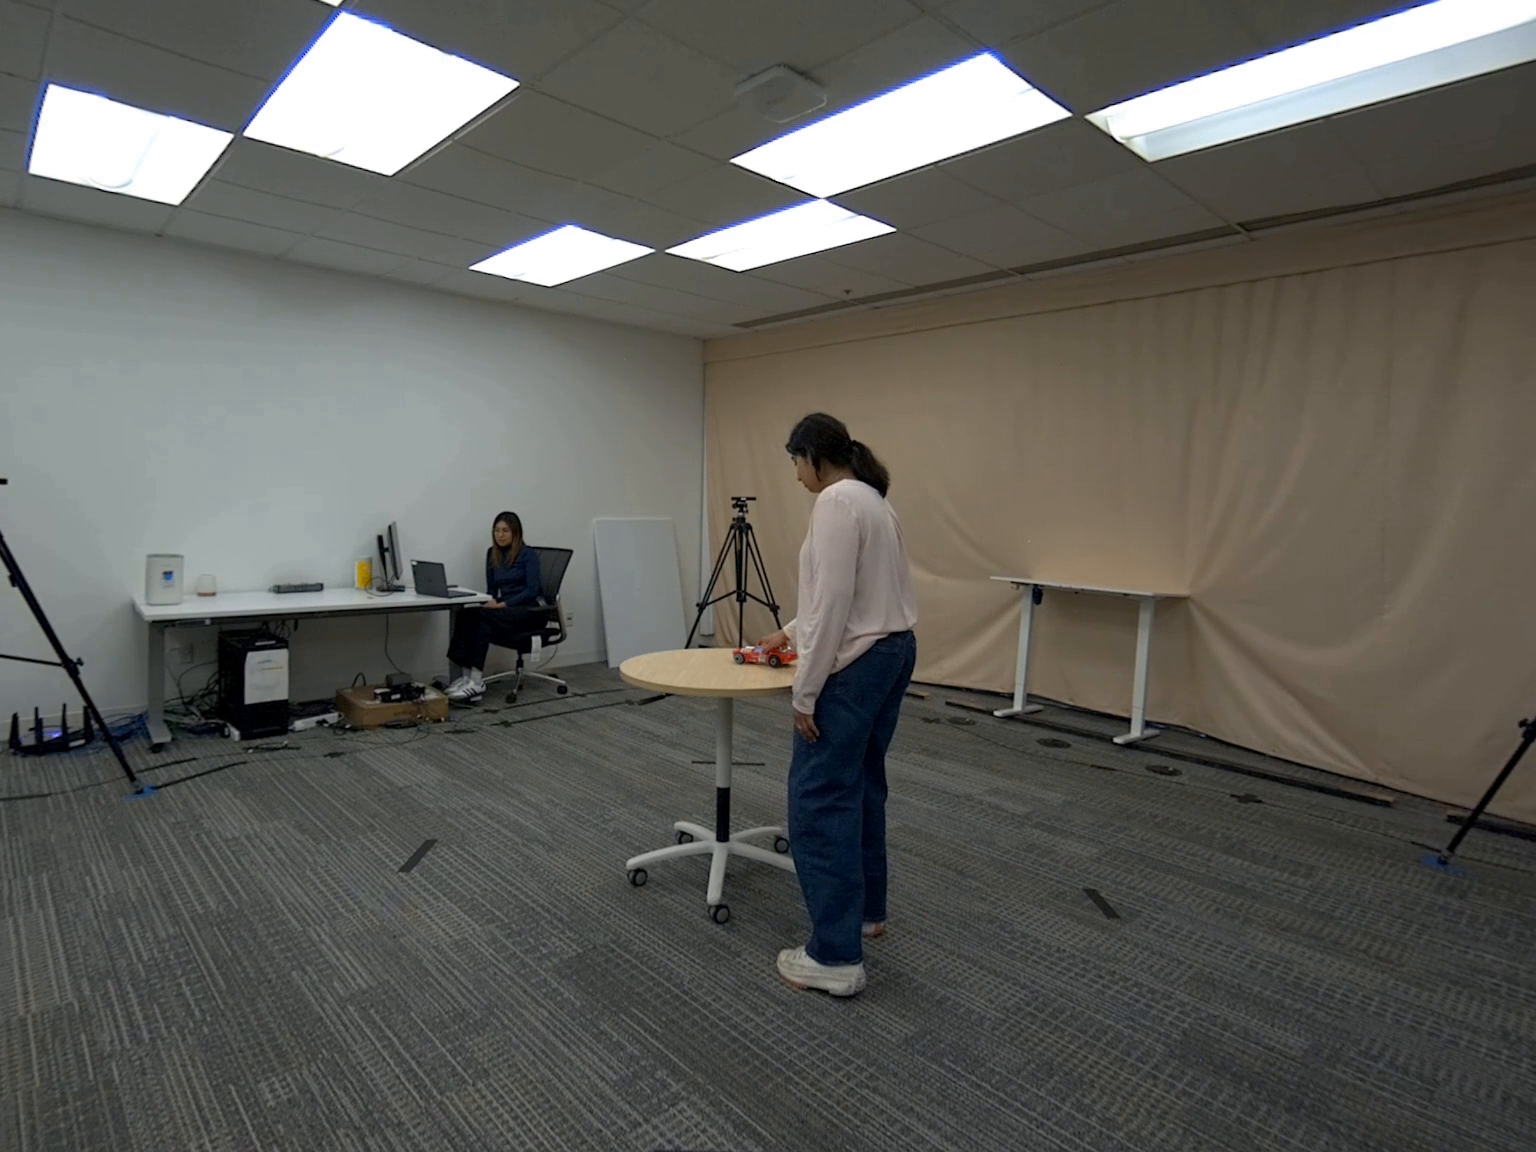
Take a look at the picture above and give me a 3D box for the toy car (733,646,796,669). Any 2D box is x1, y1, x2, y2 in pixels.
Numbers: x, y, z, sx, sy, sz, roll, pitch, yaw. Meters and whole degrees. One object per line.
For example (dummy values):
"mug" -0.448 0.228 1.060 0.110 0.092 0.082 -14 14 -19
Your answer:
"toy car" -0.008 0.297 3.096 0.259 0.083 0.128 -8 -2 27
